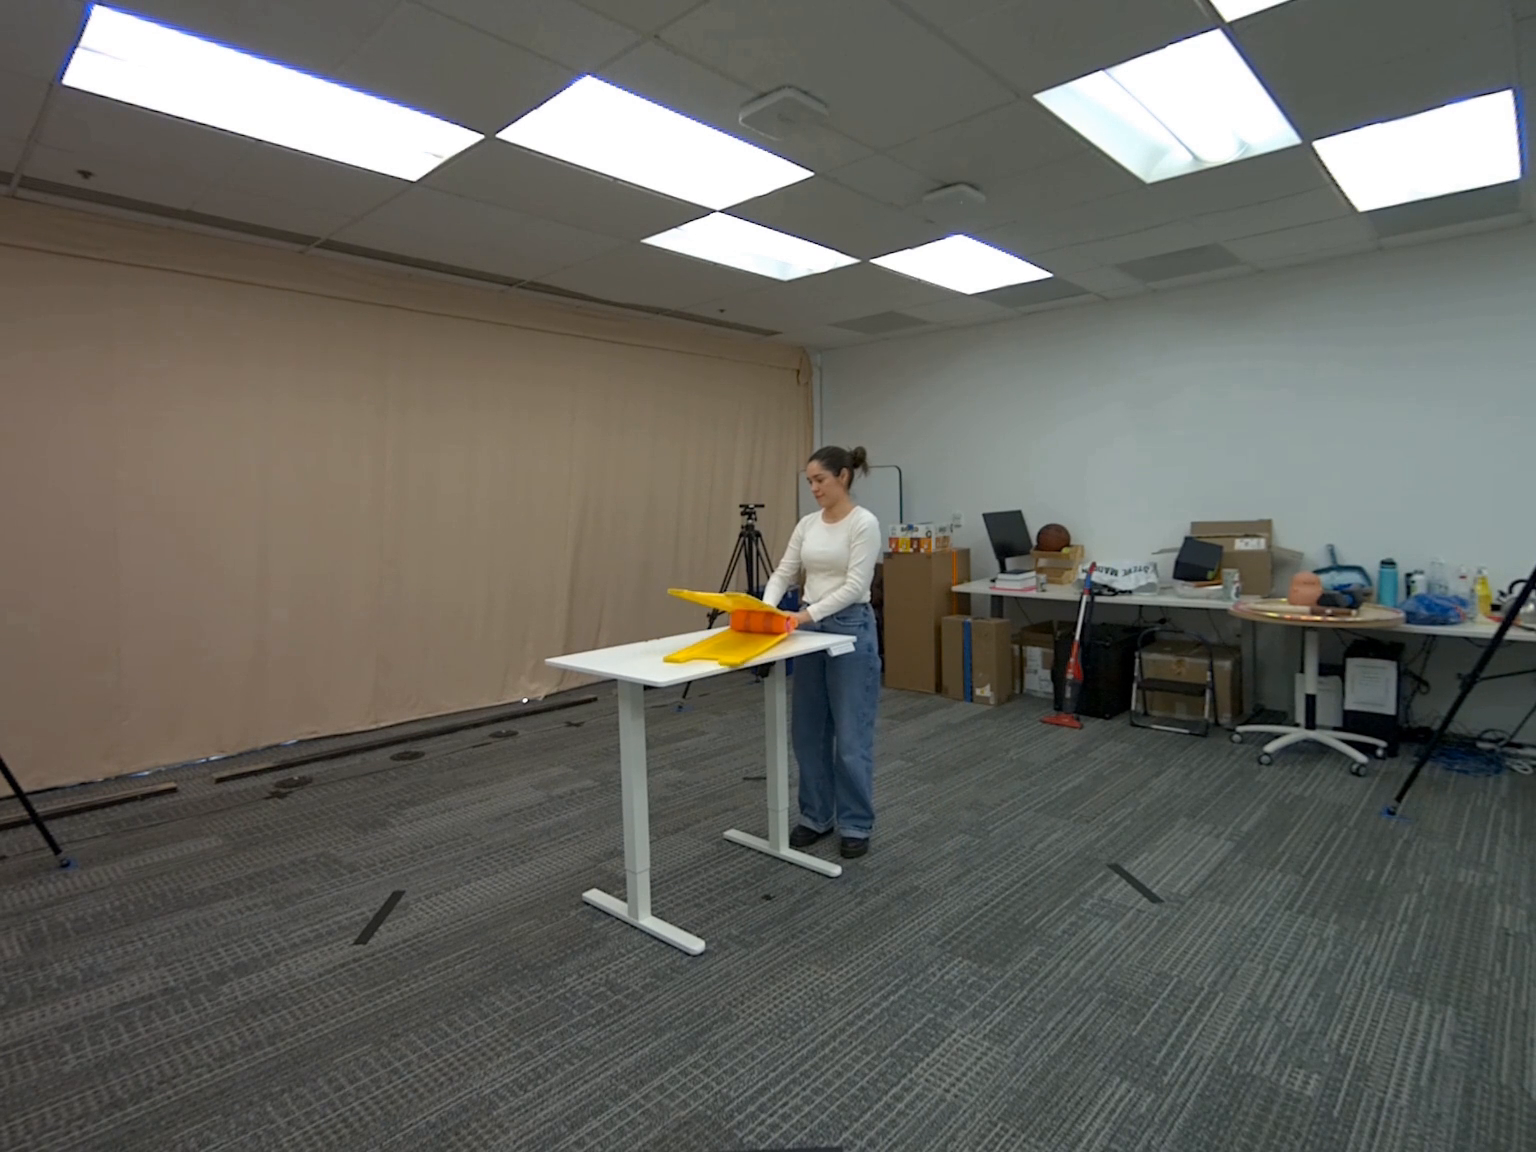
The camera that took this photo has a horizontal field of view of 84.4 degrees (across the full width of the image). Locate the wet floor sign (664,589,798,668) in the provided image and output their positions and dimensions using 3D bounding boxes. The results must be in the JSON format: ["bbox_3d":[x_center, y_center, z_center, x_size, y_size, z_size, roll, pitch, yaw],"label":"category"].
[{"bbox_3d":[-0.087,0.181,3.012,0.289,0.290,0.629,2,0,25],"label":"wet floor sign"}]
